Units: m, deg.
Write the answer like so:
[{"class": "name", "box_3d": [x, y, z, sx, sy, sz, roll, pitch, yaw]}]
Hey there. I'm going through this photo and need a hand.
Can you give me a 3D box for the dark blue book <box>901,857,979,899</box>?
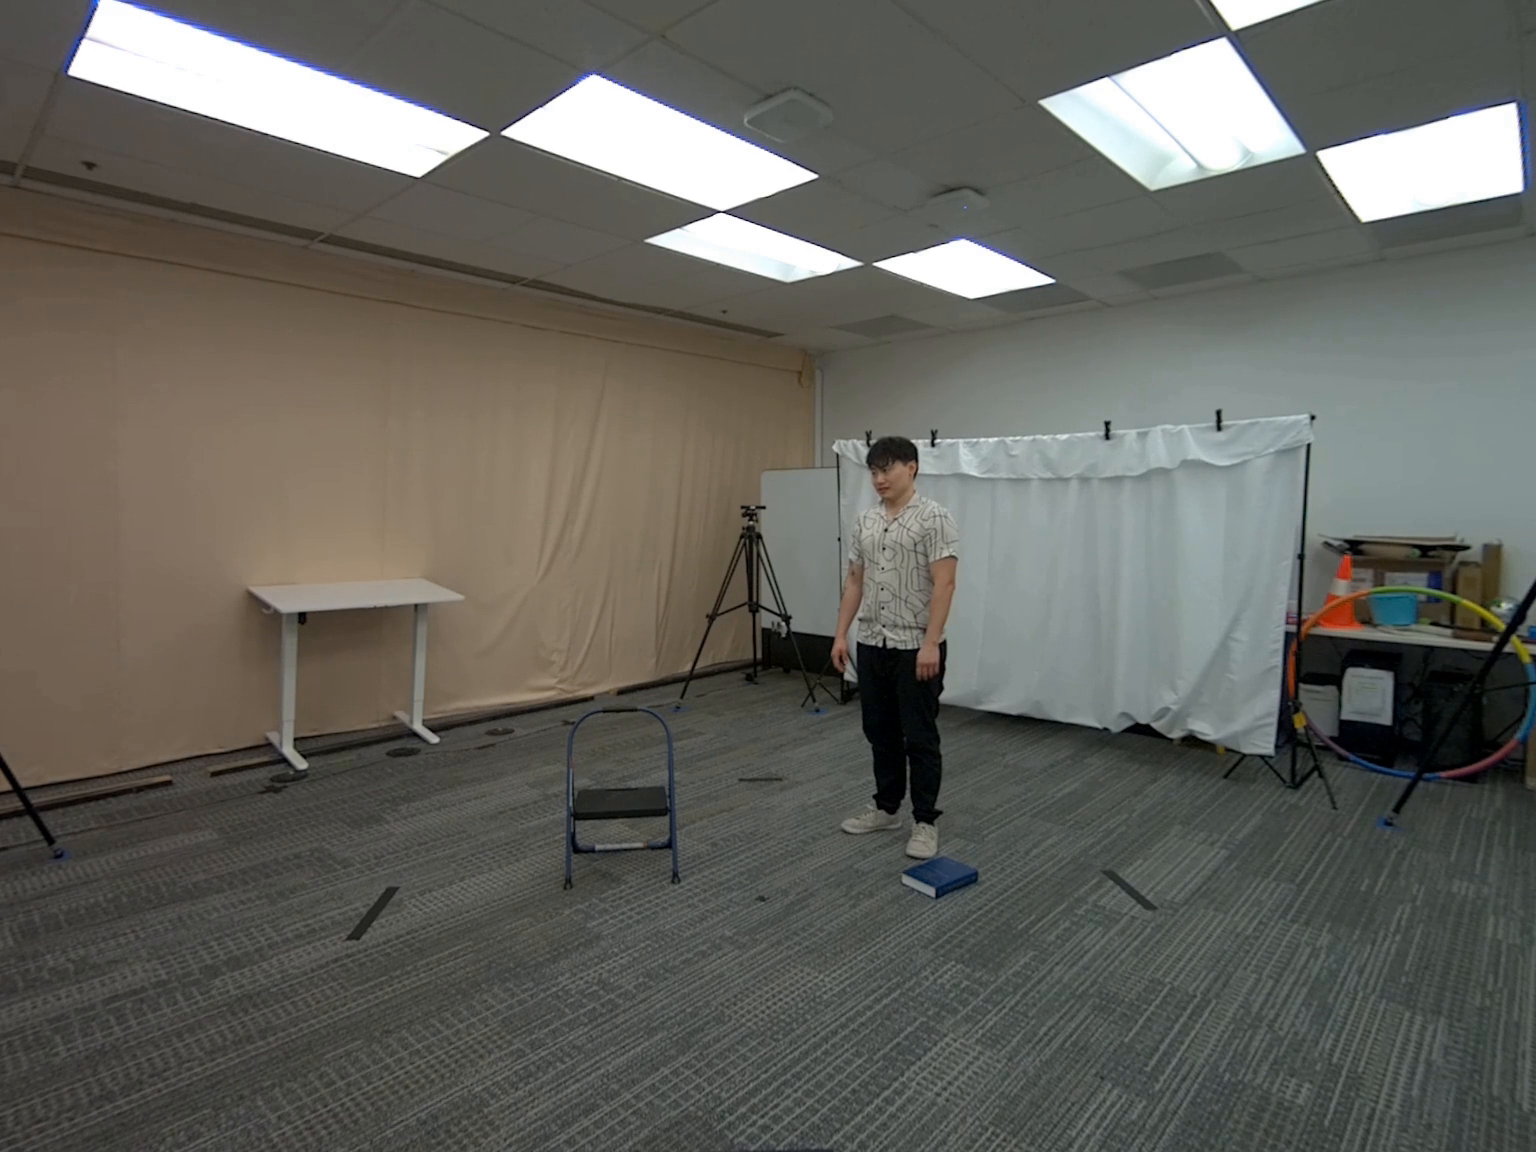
[{"class": "dark blue book", "box_3d": [0.634, 1.107, 3.107, 0.238, 0.045, 0.169, -4, 6, -38]}]
